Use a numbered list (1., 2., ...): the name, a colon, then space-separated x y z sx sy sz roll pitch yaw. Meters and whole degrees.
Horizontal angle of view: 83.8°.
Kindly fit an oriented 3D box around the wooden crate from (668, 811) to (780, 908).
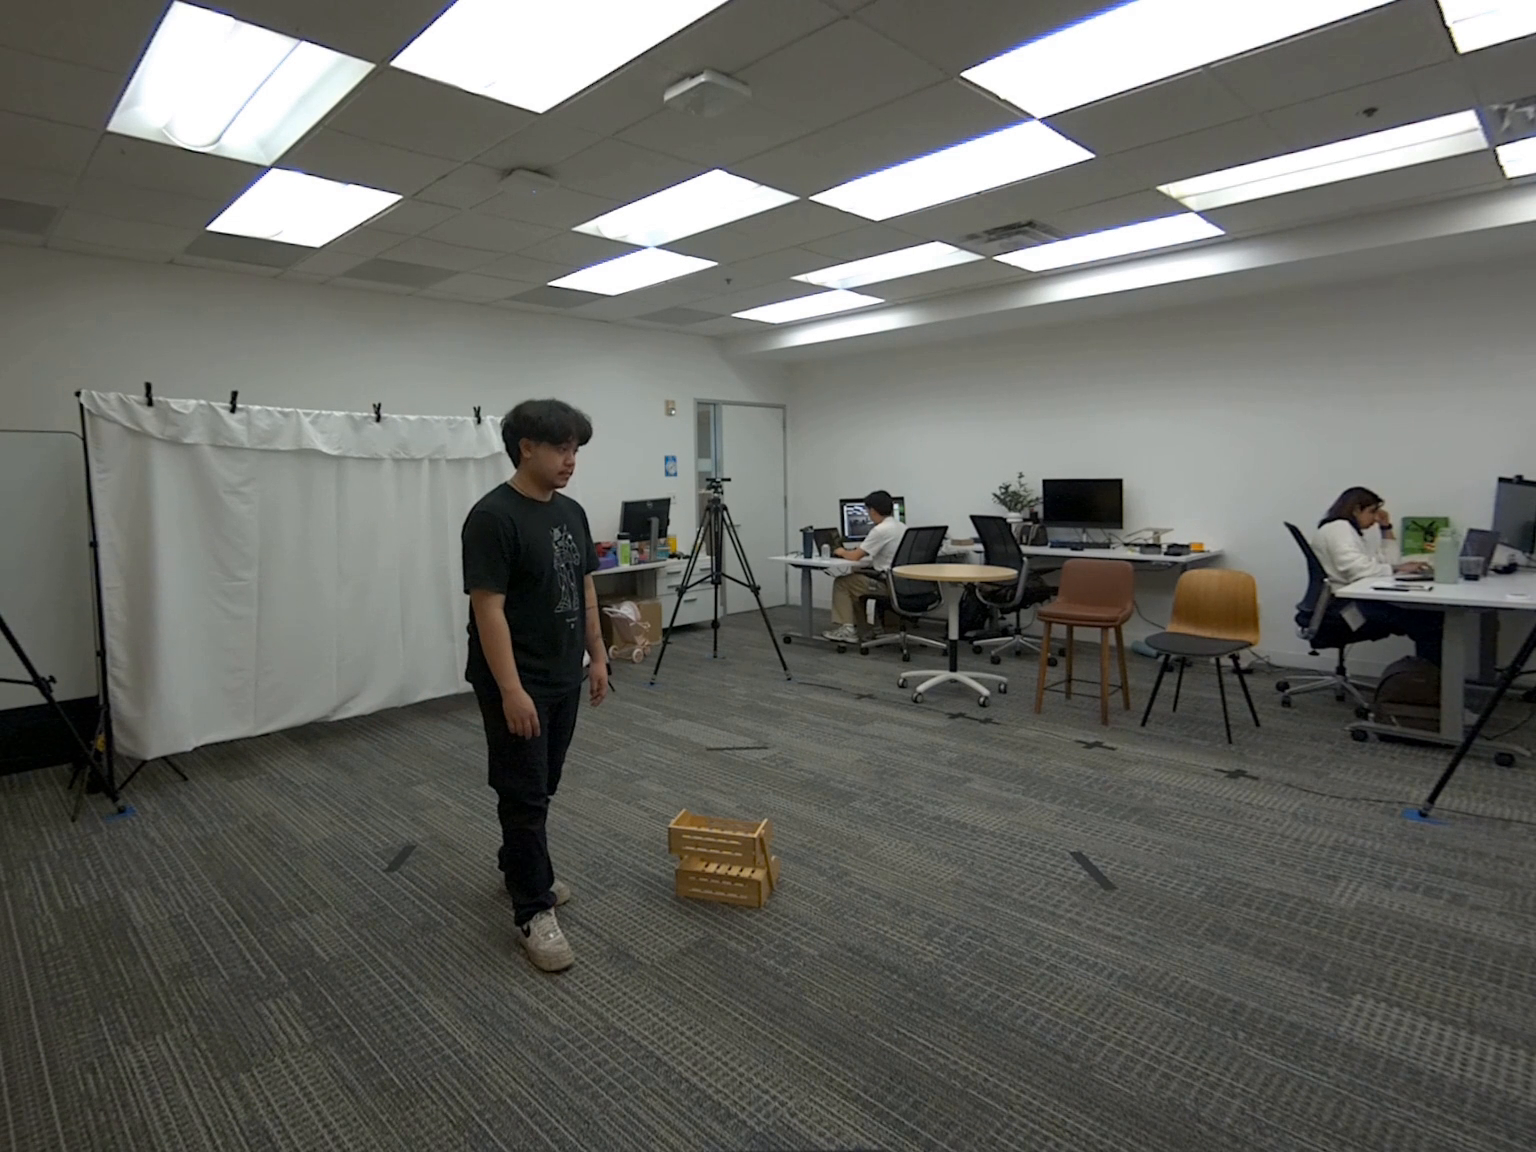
1. wooden crate: -0.139 0.932 2.916 0.330 0.272 0.299 1 6 16
